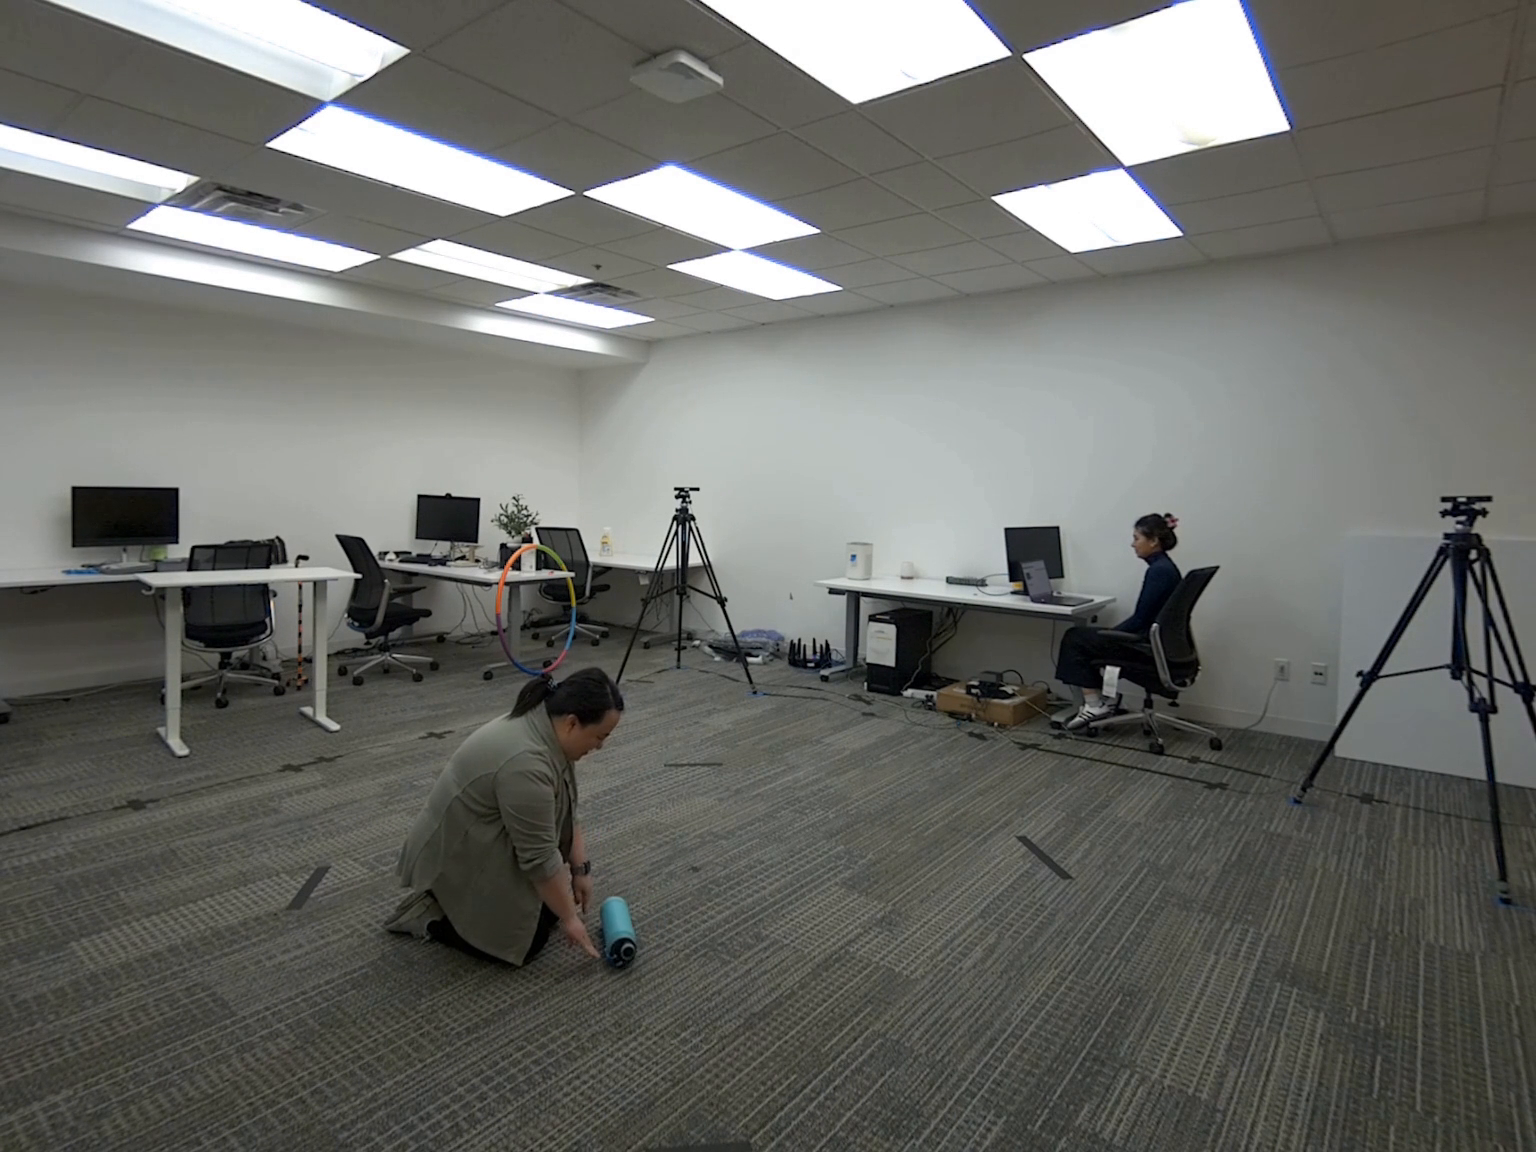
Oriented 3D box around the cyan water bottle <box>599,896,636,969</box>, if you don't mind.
[{"bbox_3d":[-0.460,1.074,2.555,0.091,0.092,0.289,0,6,-15],"label":"cyan water bottle"}]
